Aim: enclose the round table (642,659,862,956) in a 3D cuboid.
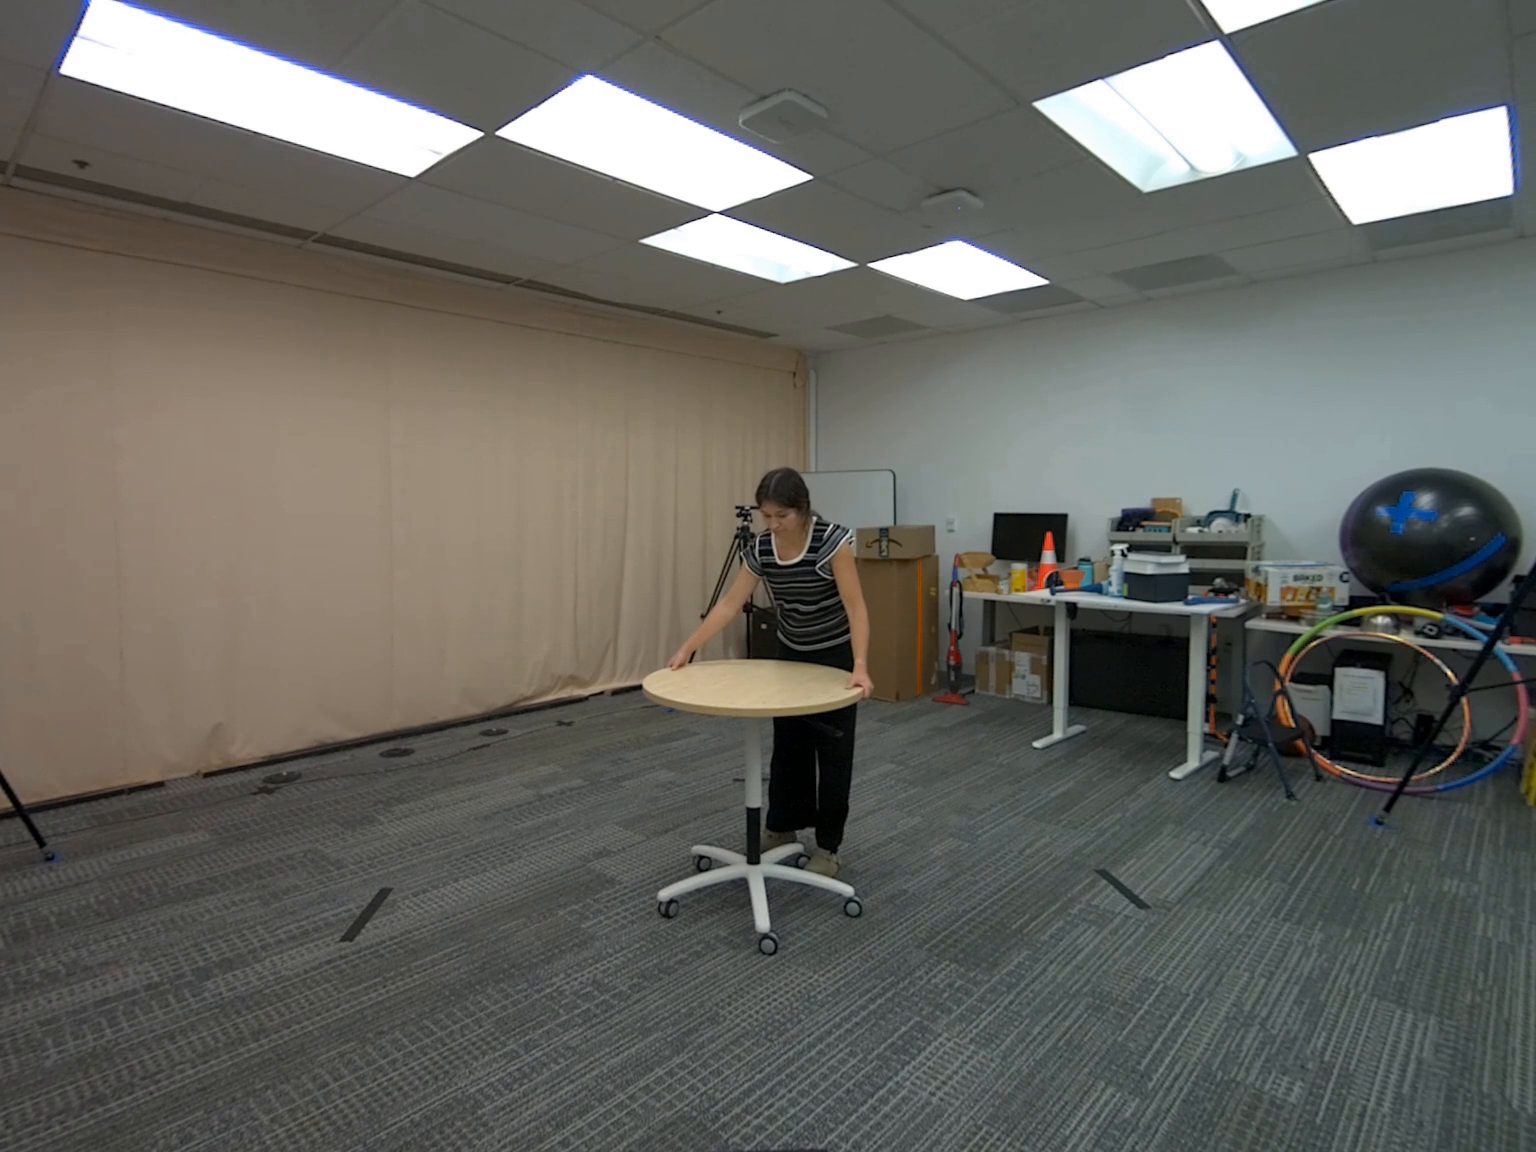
[{"bbox_3d":[-0.055,0.760,2.938,0.763,0.792,0.767,0,4,-2],"label":"round table"}]
